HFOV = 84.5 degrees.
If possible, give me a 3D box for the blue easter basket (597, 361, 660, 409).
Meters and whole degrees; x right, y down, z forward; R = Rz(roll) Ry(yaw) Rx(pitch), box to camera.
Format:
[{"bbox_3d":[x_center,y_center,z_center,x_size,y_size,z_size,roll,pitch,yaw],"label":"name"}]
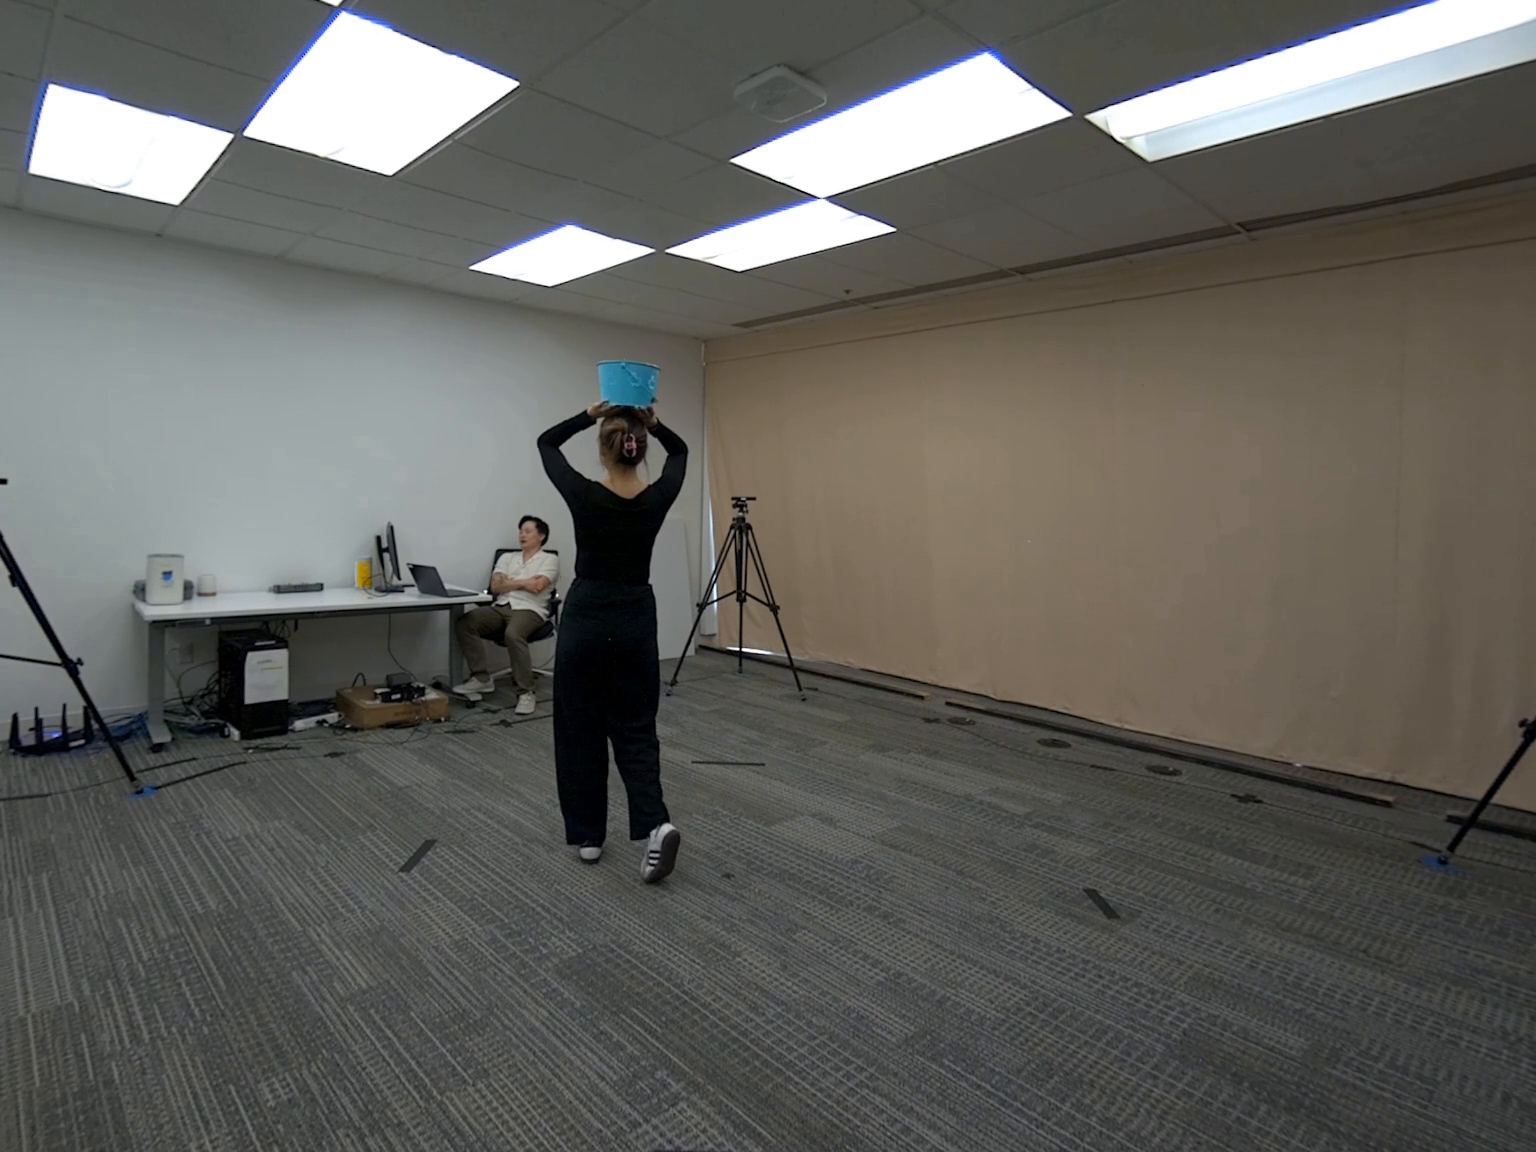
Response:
[{"bbox_3d":[-0.515,-0.688,3.066,0.243,0.156,0.244,4,2,-1],"label":"blue easter basket"}]
